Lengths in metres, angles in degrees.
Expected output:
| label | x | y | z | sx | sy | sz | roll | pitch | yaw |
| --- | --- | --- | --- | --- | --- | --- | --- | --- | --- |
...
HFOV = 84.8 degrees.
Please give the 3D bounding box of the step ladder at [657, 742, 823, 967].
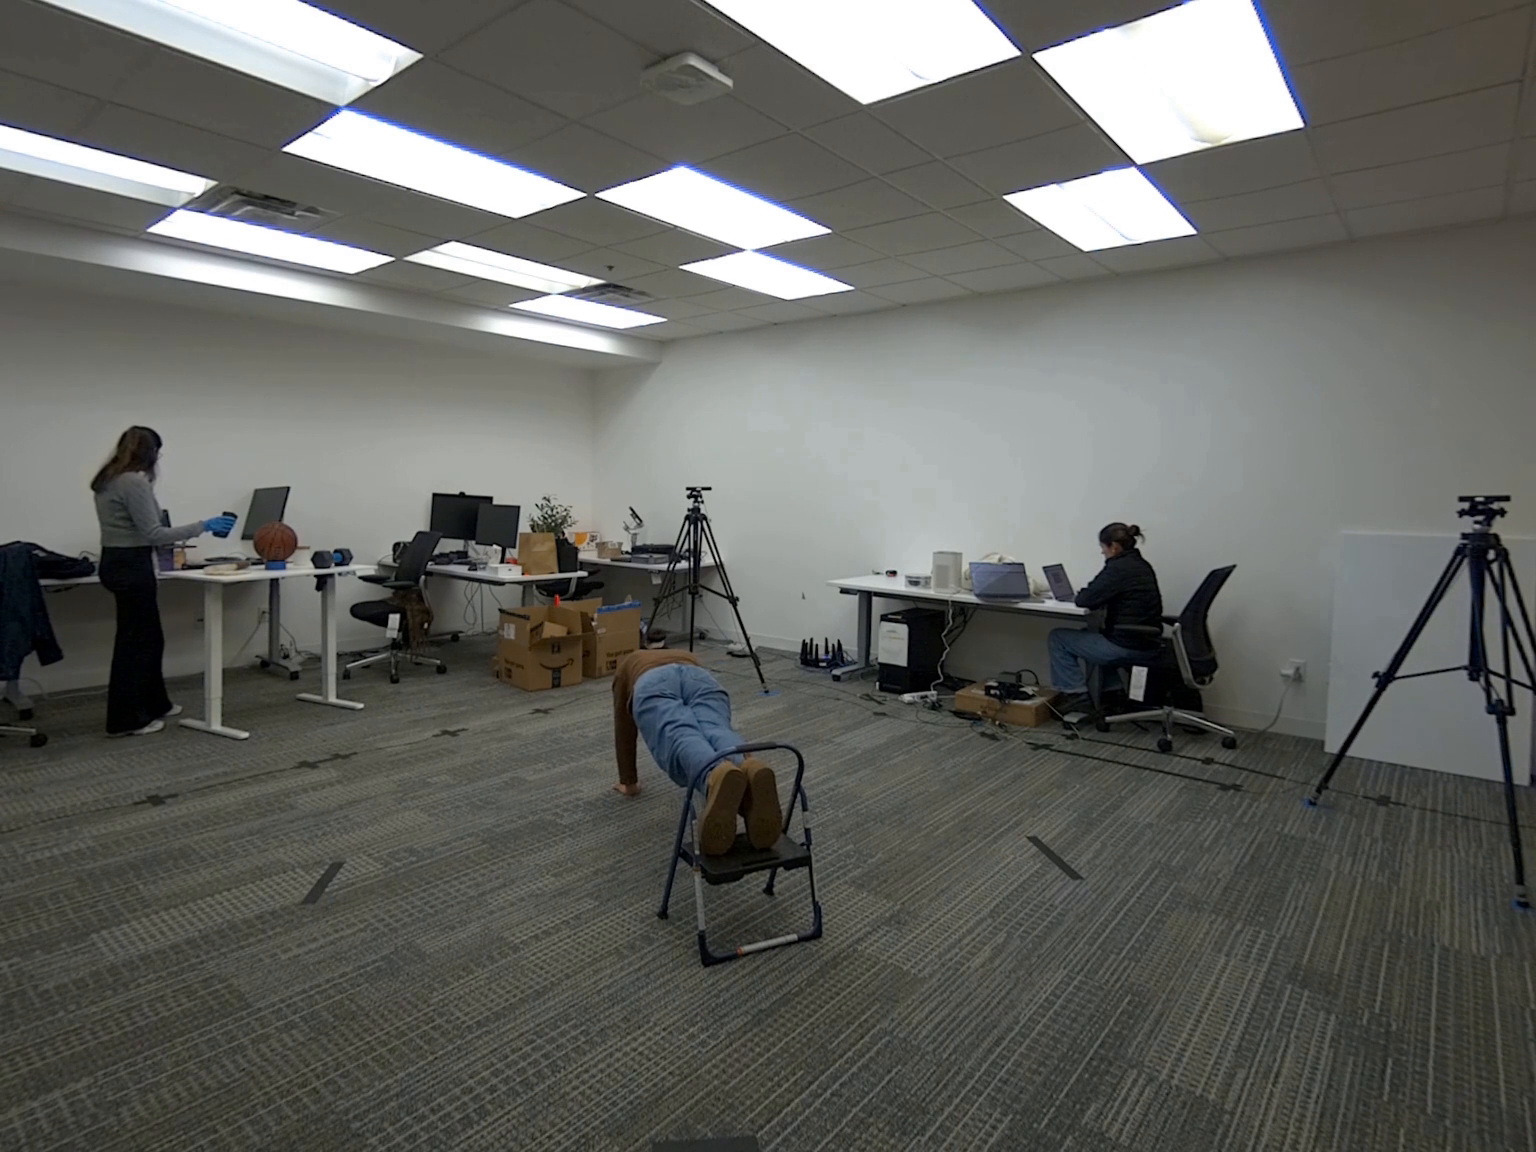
| label | x | y | z | sx | sy | sz | roll | pitch | yaw |
| --- | --- | --- | --- | --- | --- | --- | --- | --- | --- |
| step ladder | -0.093 | 0.808 | 2.688 | 0.419 | 0.604 | 0.360 | -1 | 4 | -29 |
